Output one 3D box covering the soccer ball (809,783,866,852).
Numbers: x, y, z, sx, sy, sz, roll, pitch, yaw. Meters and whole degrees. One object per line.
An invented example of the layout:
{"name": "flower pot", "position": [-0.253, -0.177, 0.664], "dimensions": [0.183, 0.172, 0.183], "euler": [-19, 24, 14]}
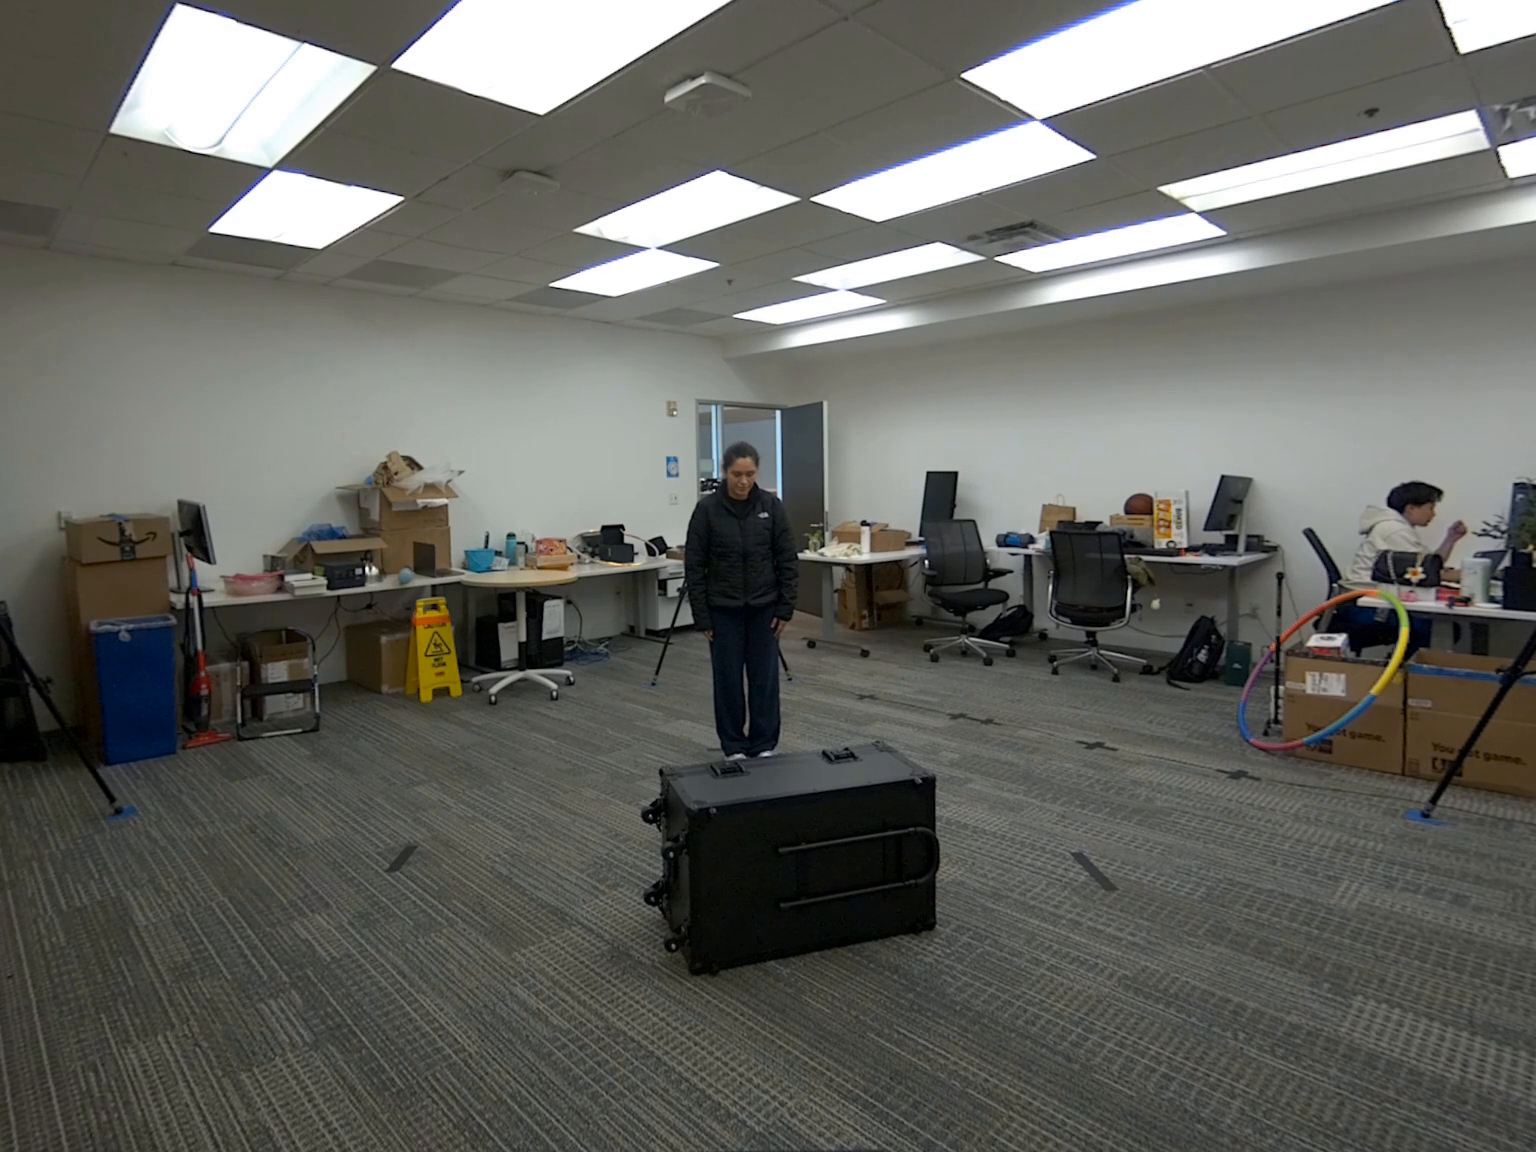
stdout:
{"name": "soccer ball", "position": [0.260, 0.922, 3.289], "dimensions": [0.187, 0.187, 0.188], "euler": [-1, 5, -2]}
